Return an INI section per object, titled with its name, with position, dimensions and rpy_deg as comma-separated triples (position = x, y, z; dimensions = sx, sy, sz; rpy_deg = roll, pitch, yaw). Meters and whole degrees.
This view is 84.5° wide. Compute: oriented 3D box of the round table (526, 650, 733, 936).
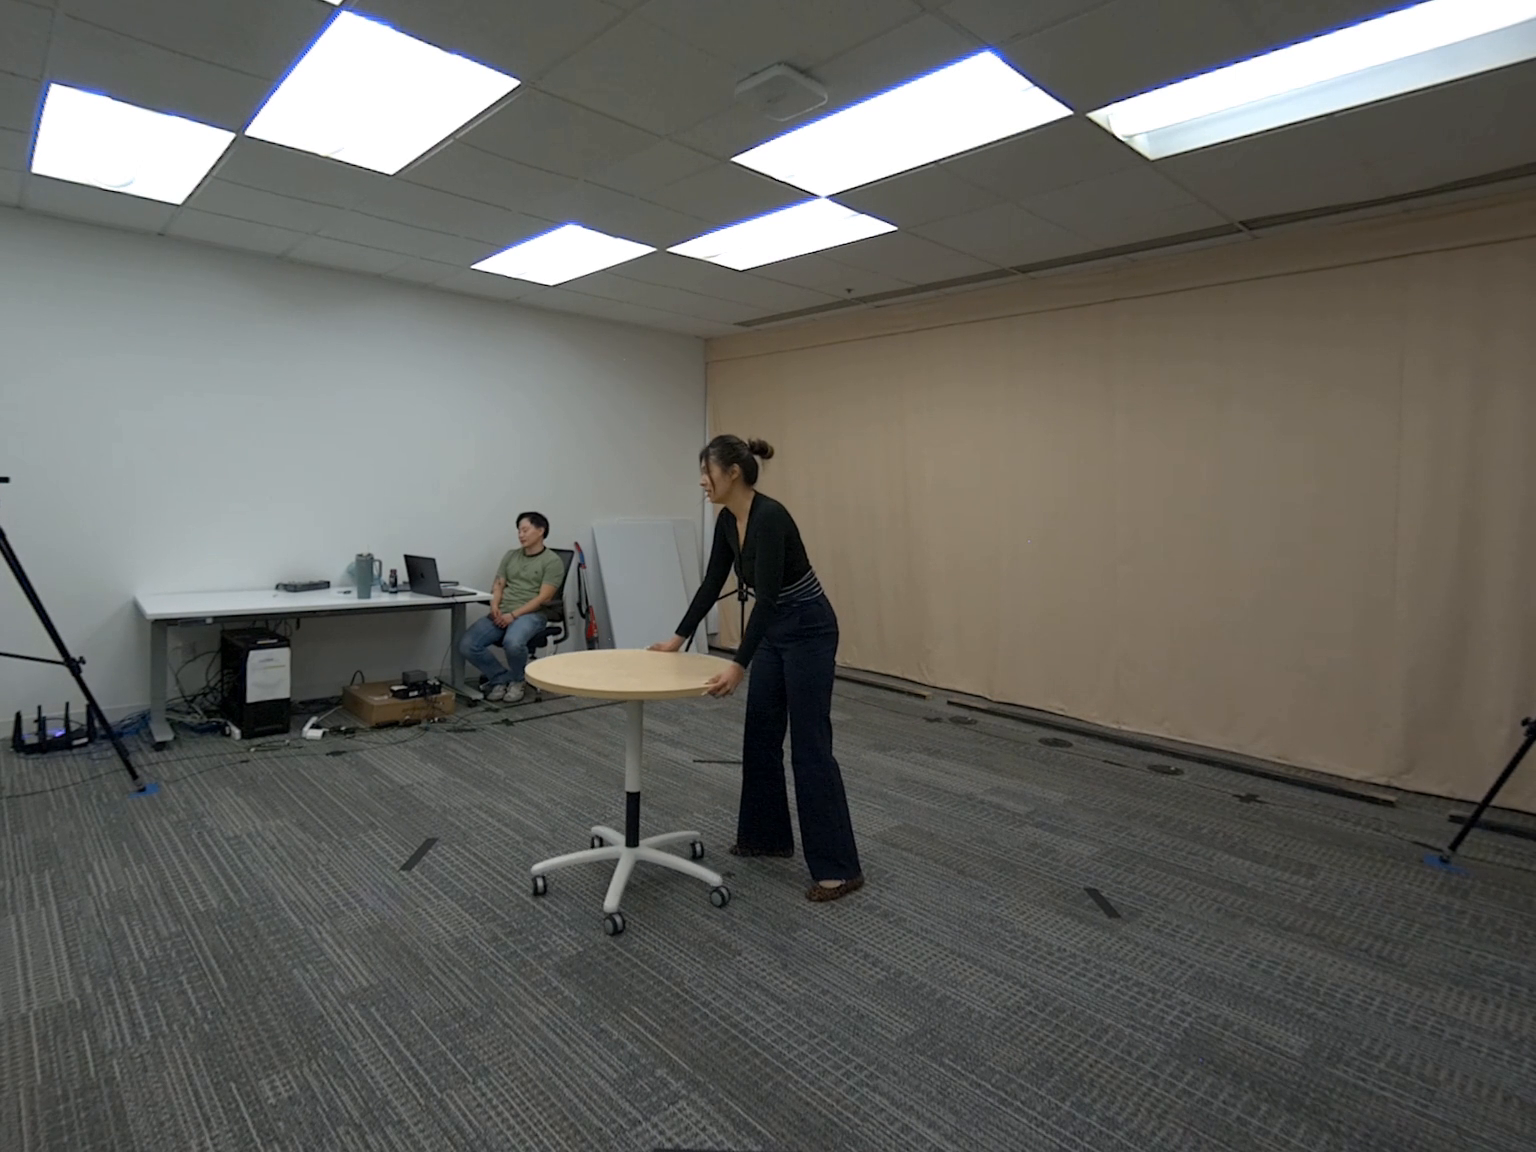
[round table]
position = -0.473, 0.717, 2.988
dimensions = 0.763, 0.792, 0.766
rpy_deg = 1, 4, -1
